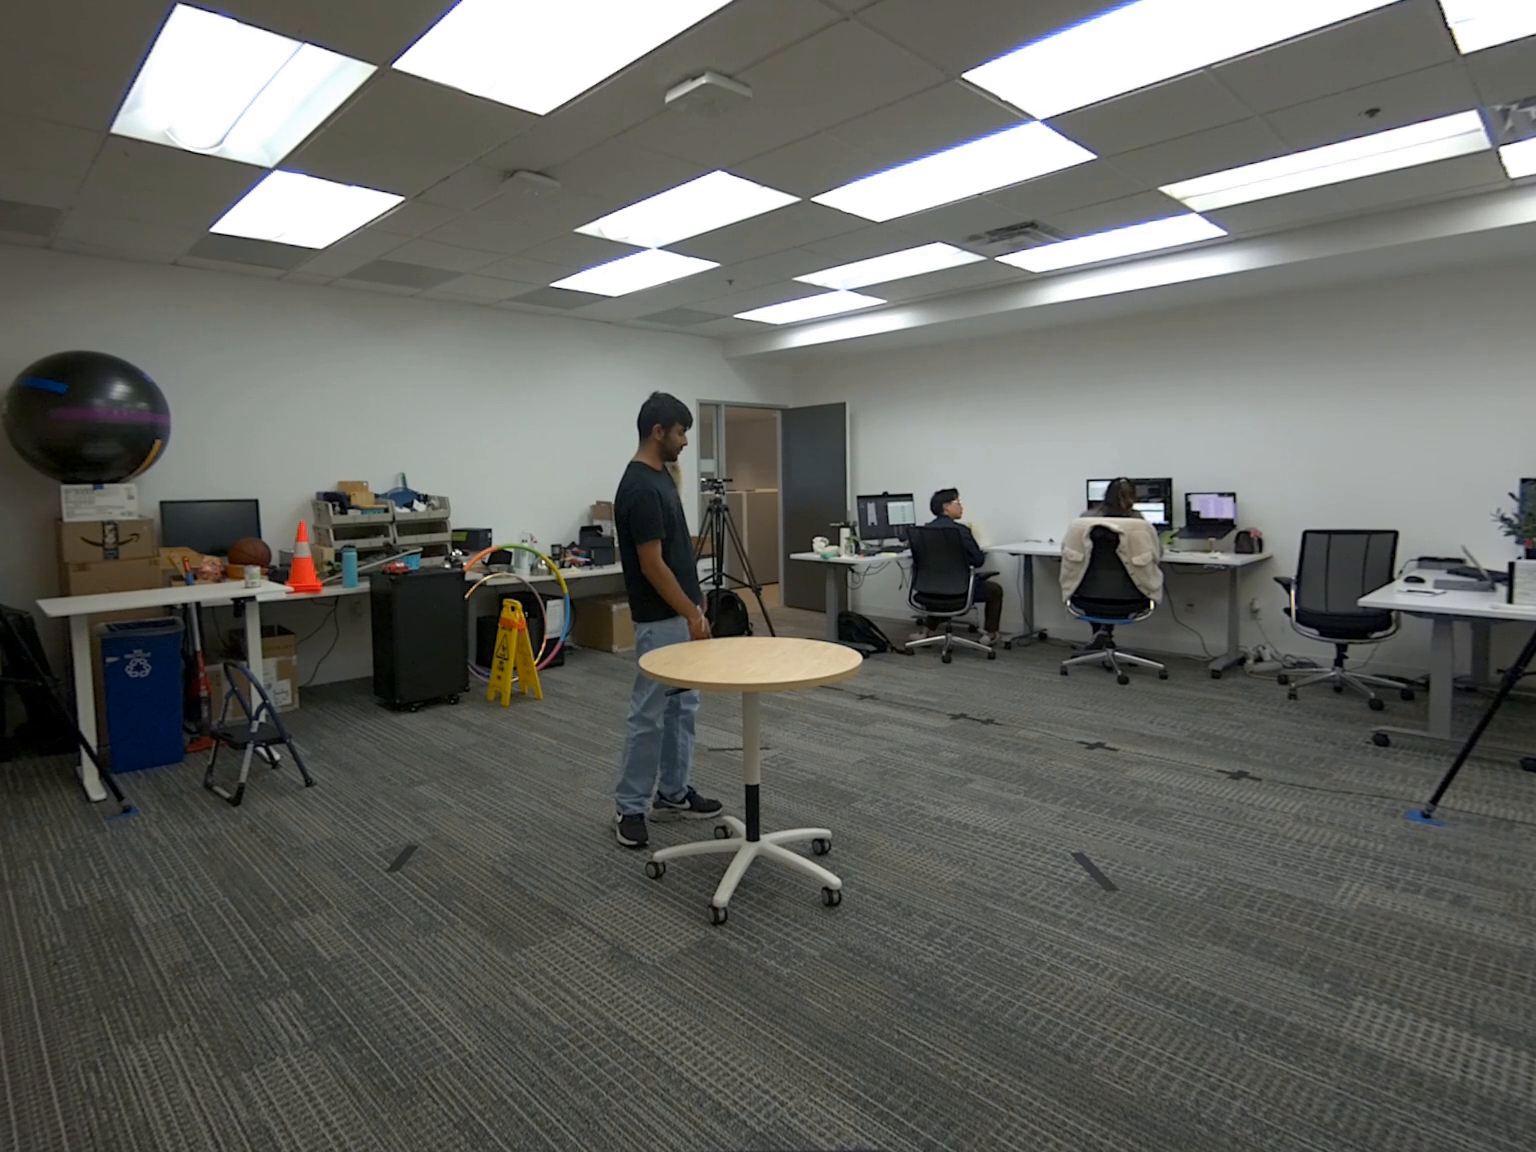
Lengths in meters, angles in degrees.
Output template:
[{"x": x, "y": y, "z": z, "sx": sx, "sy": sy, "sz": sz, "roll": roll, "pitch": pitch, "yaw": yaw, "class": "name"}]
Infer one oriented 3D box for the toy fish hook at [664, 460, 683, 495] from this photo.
[{"x": -0.458, "y": -0.293, "z": 3.580, "sx": 0.227, "sy": 0.502, "sz": 0.048, "roll": -2, "pitch": 10, "yaw": 14, "class": "toy fish hook"}]
